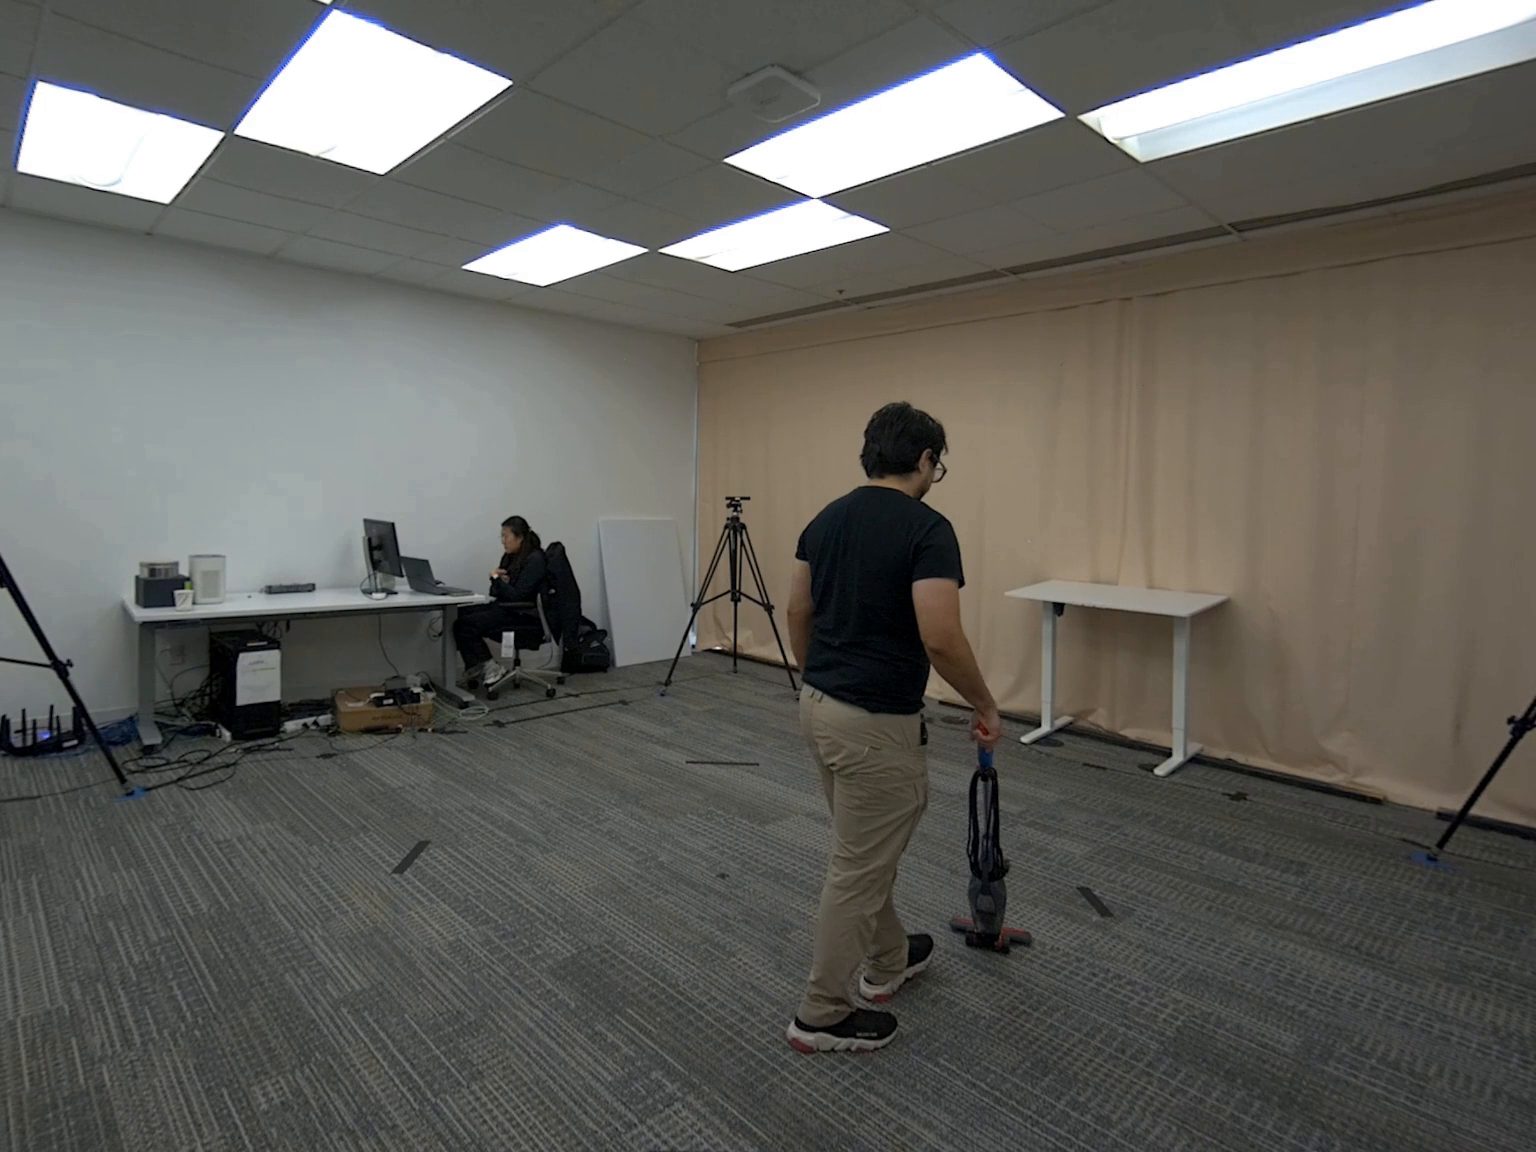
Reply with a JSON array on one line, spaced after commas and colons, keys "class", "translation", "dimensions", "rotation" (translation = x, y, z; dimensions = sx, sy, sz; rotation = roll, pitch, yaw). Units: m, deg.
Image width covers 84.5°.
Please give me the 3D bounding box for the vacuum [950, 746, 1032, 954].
[{"class": "vacuum", "translation": [0.612, 0.771, 2.378], "dimensions": [0.257, 1.022, 0.145], "rotation": [5, 41, 21]}]
